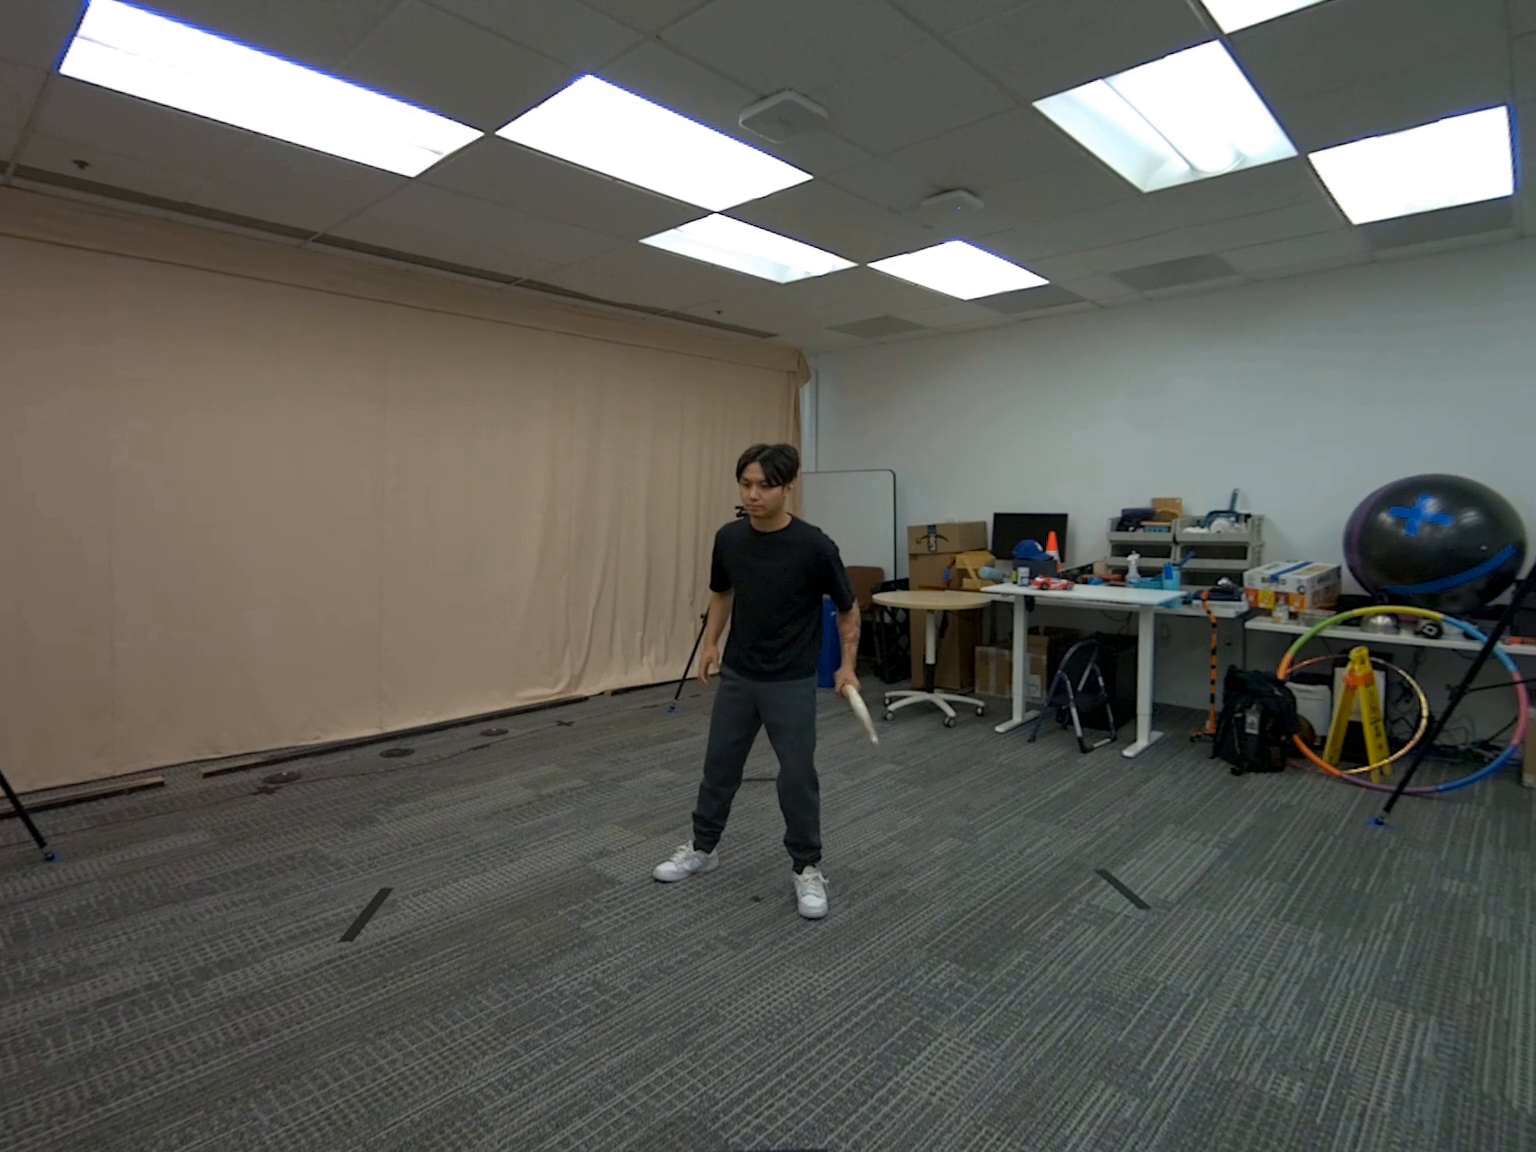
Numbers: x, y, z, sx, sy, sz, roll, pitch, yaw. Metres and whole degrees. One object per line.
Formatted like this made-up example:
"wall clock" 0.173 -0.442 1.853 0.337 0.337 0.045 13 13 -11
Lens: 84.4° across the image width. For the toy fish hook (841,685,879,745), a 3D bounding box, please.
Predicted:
"toy fish hook" 0.282 0.433 2.789 0.048 0.224 0.508 -18 5 -1
